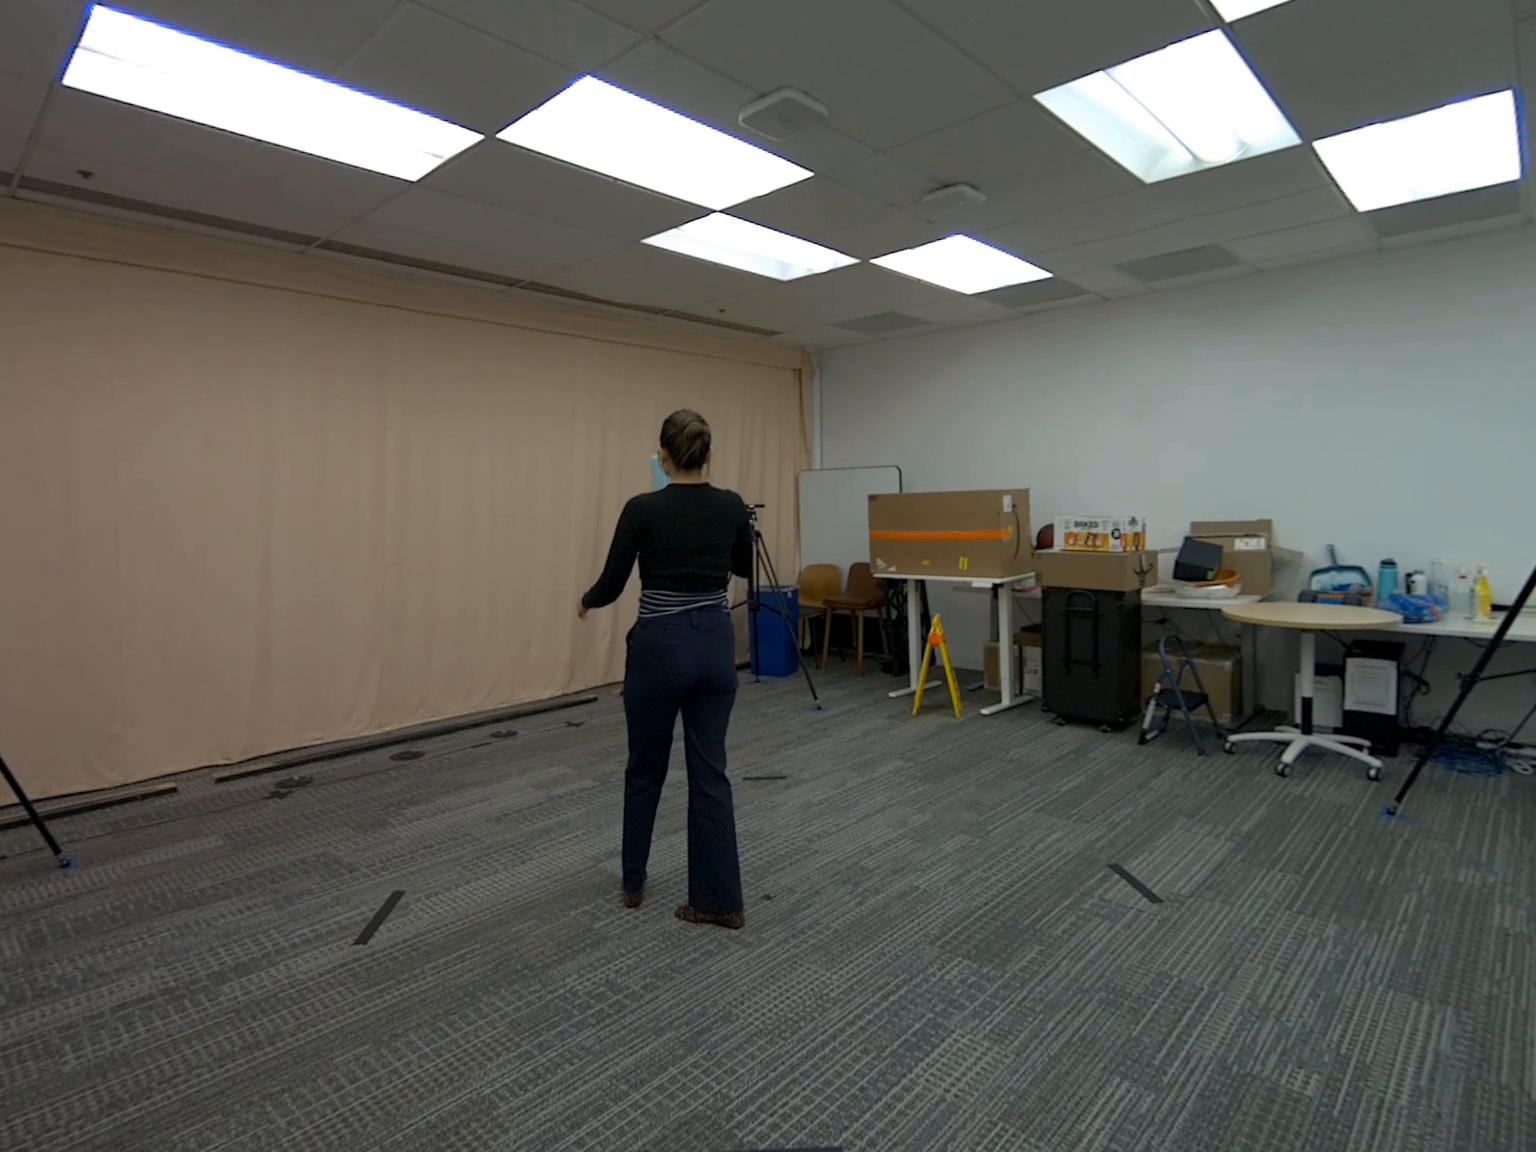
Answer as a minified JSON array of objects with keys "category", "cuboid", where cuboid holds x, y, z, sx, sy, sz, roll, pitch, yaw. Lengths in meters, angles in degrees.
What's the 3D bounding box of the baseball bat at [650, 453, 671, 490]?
[{"category":"baseball bat","cuboid":[-0.364,-0.168,3.262,0.089,0.542,0.089,-11,2,-1]}]
